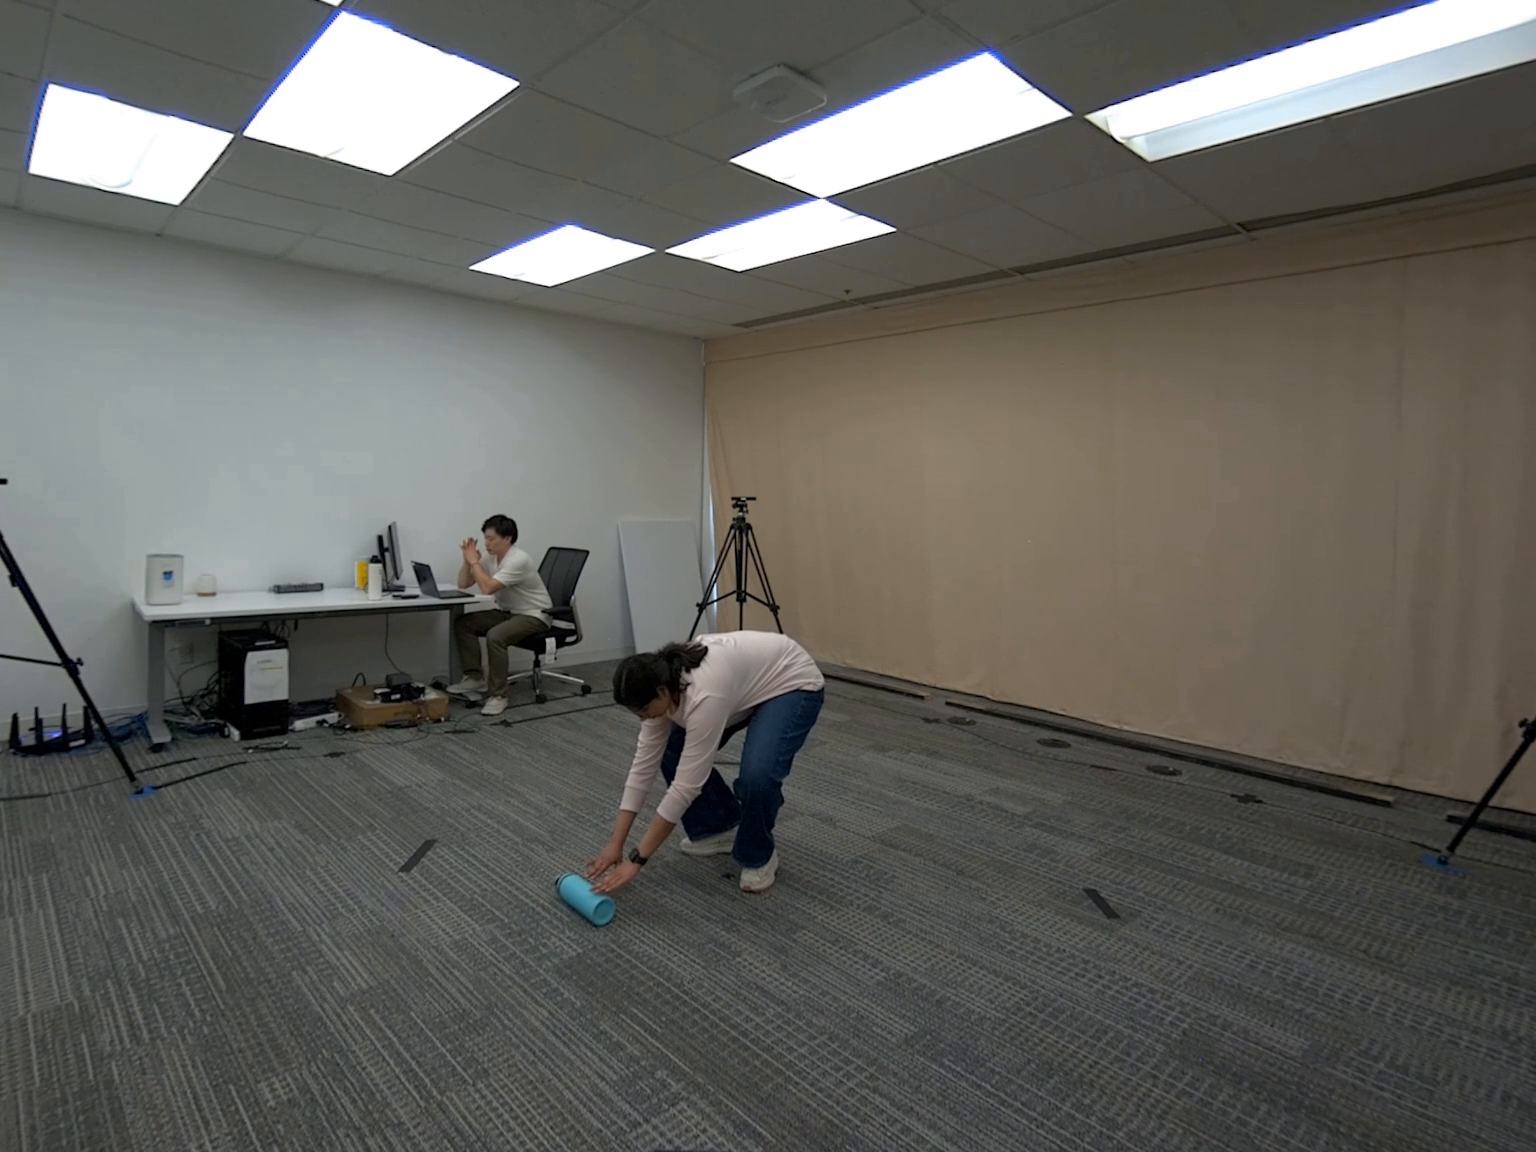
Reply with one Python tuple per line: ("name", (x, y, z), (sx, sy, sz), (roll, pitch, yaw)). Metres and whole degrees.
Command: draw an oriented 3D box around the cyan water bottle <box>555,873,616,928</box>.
("cyan water bottle", (-0.626, 1.075, 2.823), (0.090, 0.092, 0.290), (-2, 5, -40))
